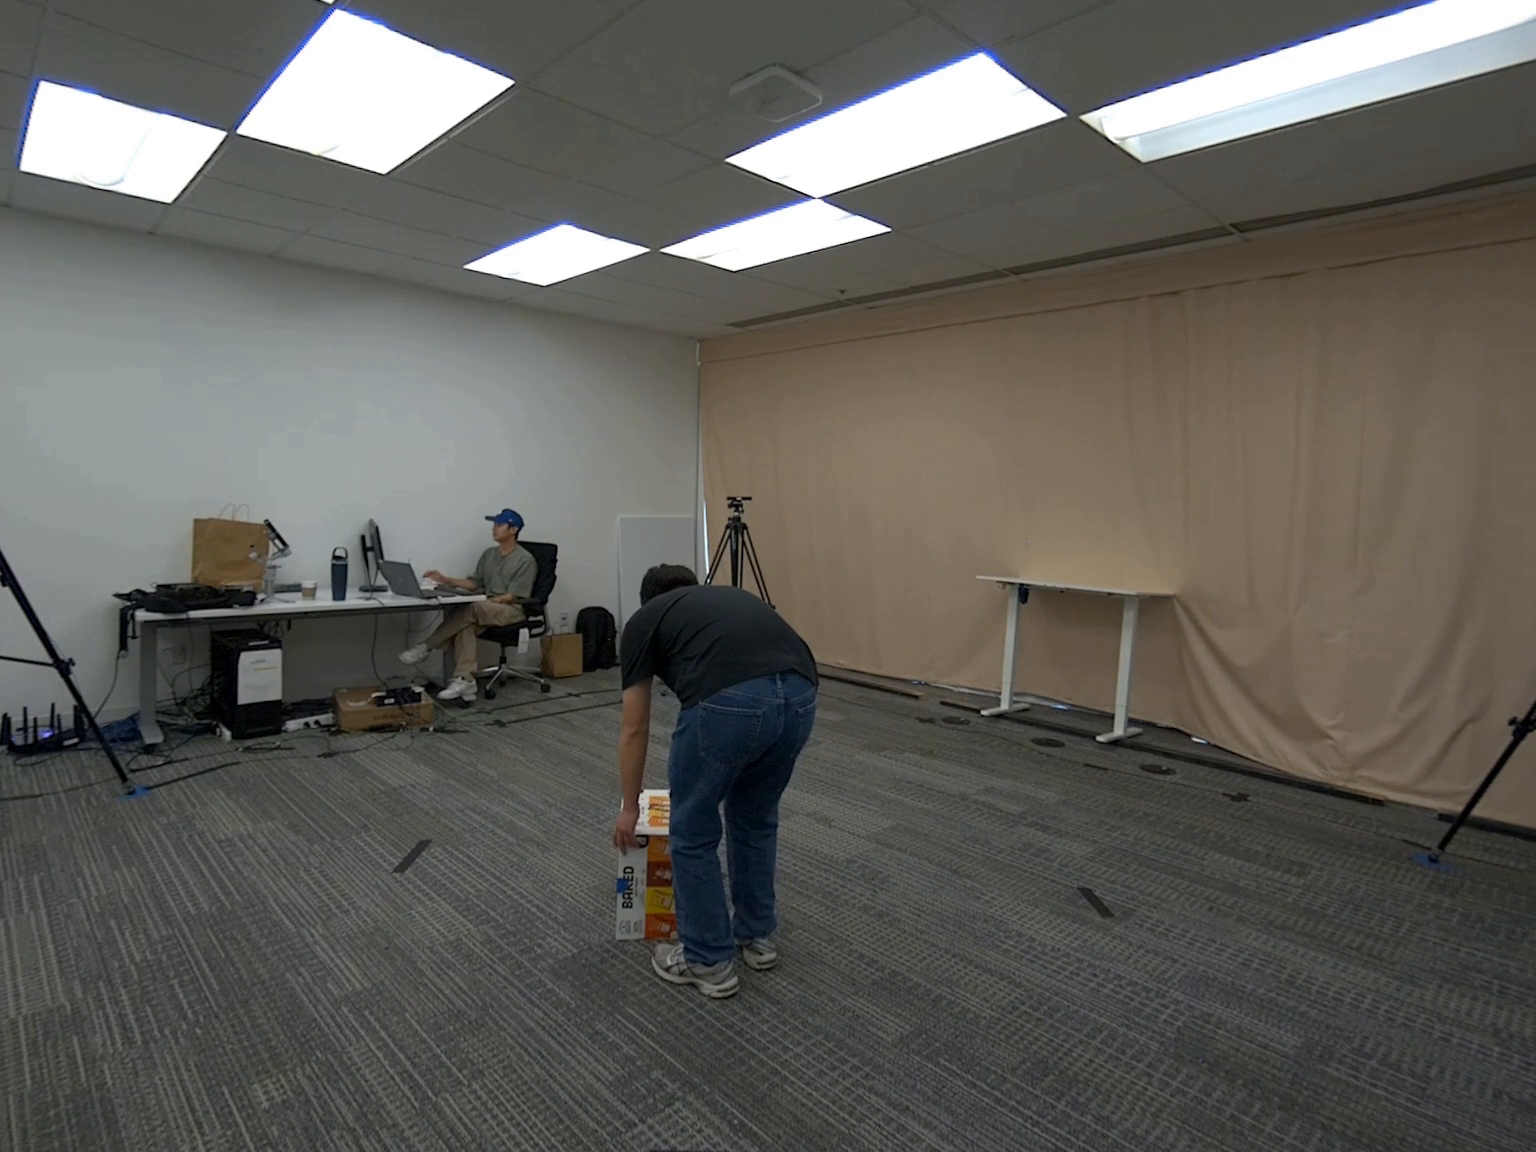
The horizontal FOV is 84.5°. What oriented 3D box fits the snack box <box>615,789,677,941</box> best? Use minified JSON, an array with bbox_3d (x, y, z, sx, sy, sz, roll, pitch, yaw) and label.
[{"bbox_3d":[-0.409,0.960,2.829,0.204,0.339,0.408,3,5,-7],"label":"snack box"}]
